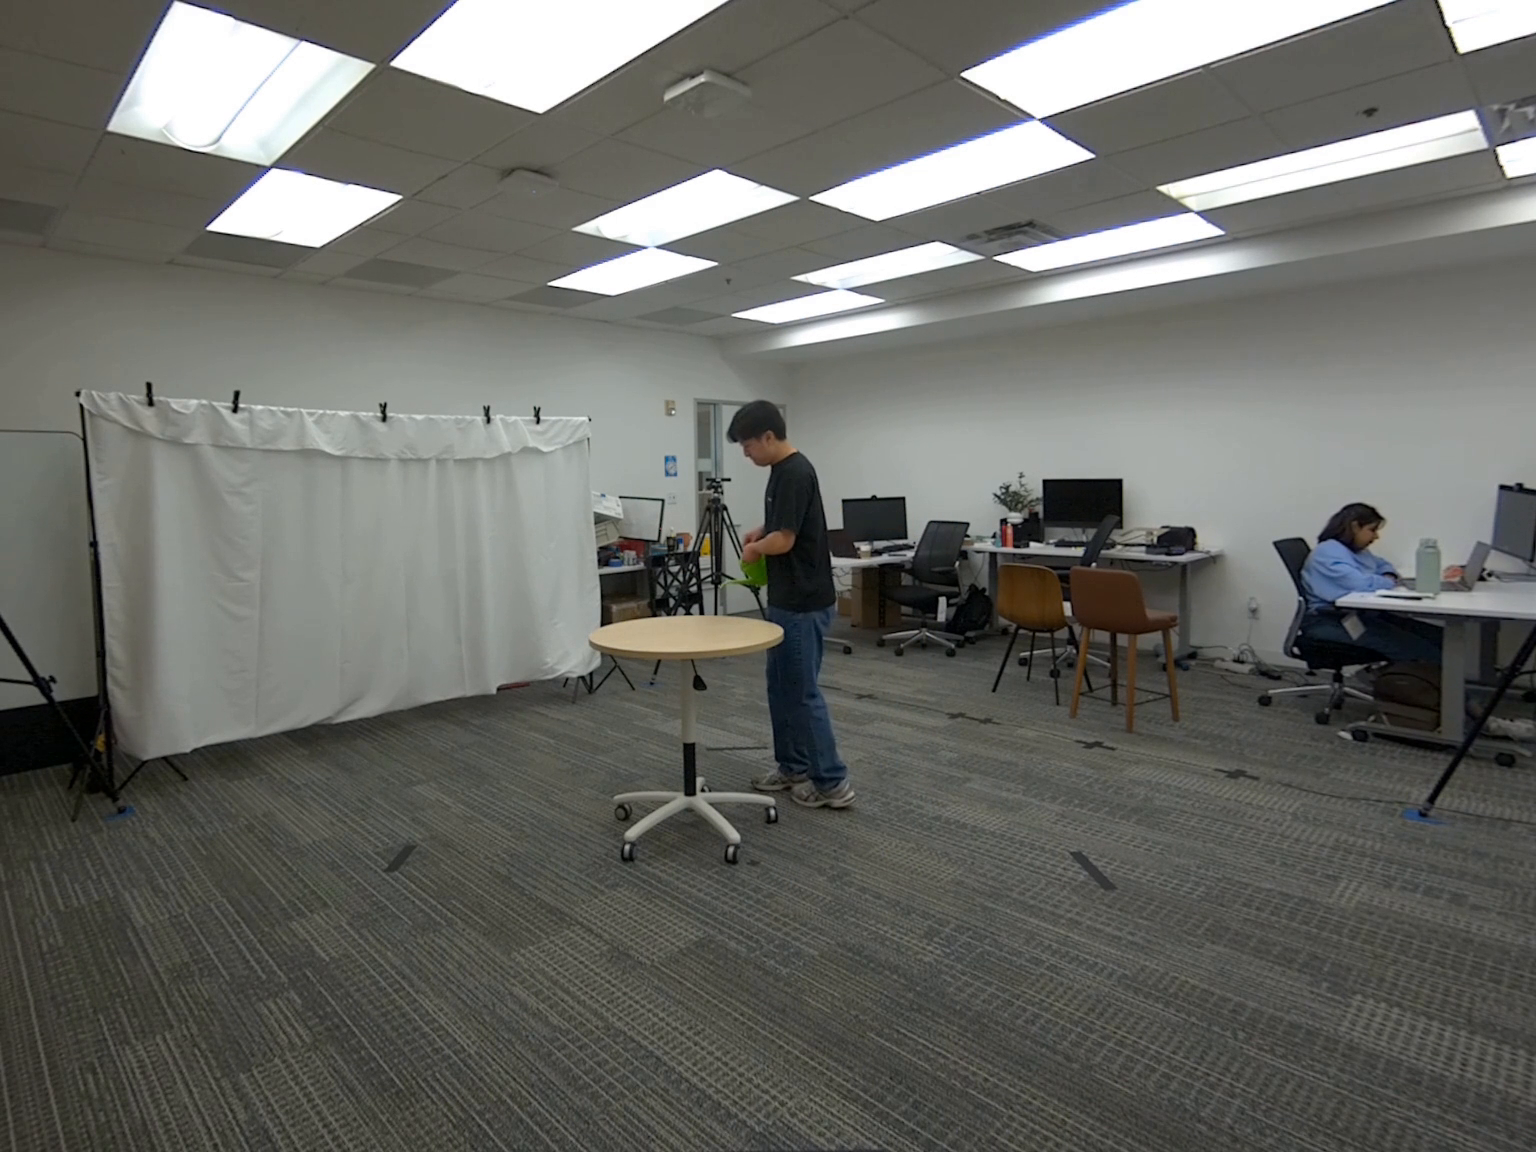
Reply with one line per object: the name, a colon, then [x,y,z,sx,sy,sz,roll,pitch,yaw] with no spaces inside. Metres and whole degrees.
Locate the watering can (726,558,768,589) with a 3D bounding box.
watering can: [-0.070,-0.019,3.907,0.171,0.278,0.101,40,0,-25]
